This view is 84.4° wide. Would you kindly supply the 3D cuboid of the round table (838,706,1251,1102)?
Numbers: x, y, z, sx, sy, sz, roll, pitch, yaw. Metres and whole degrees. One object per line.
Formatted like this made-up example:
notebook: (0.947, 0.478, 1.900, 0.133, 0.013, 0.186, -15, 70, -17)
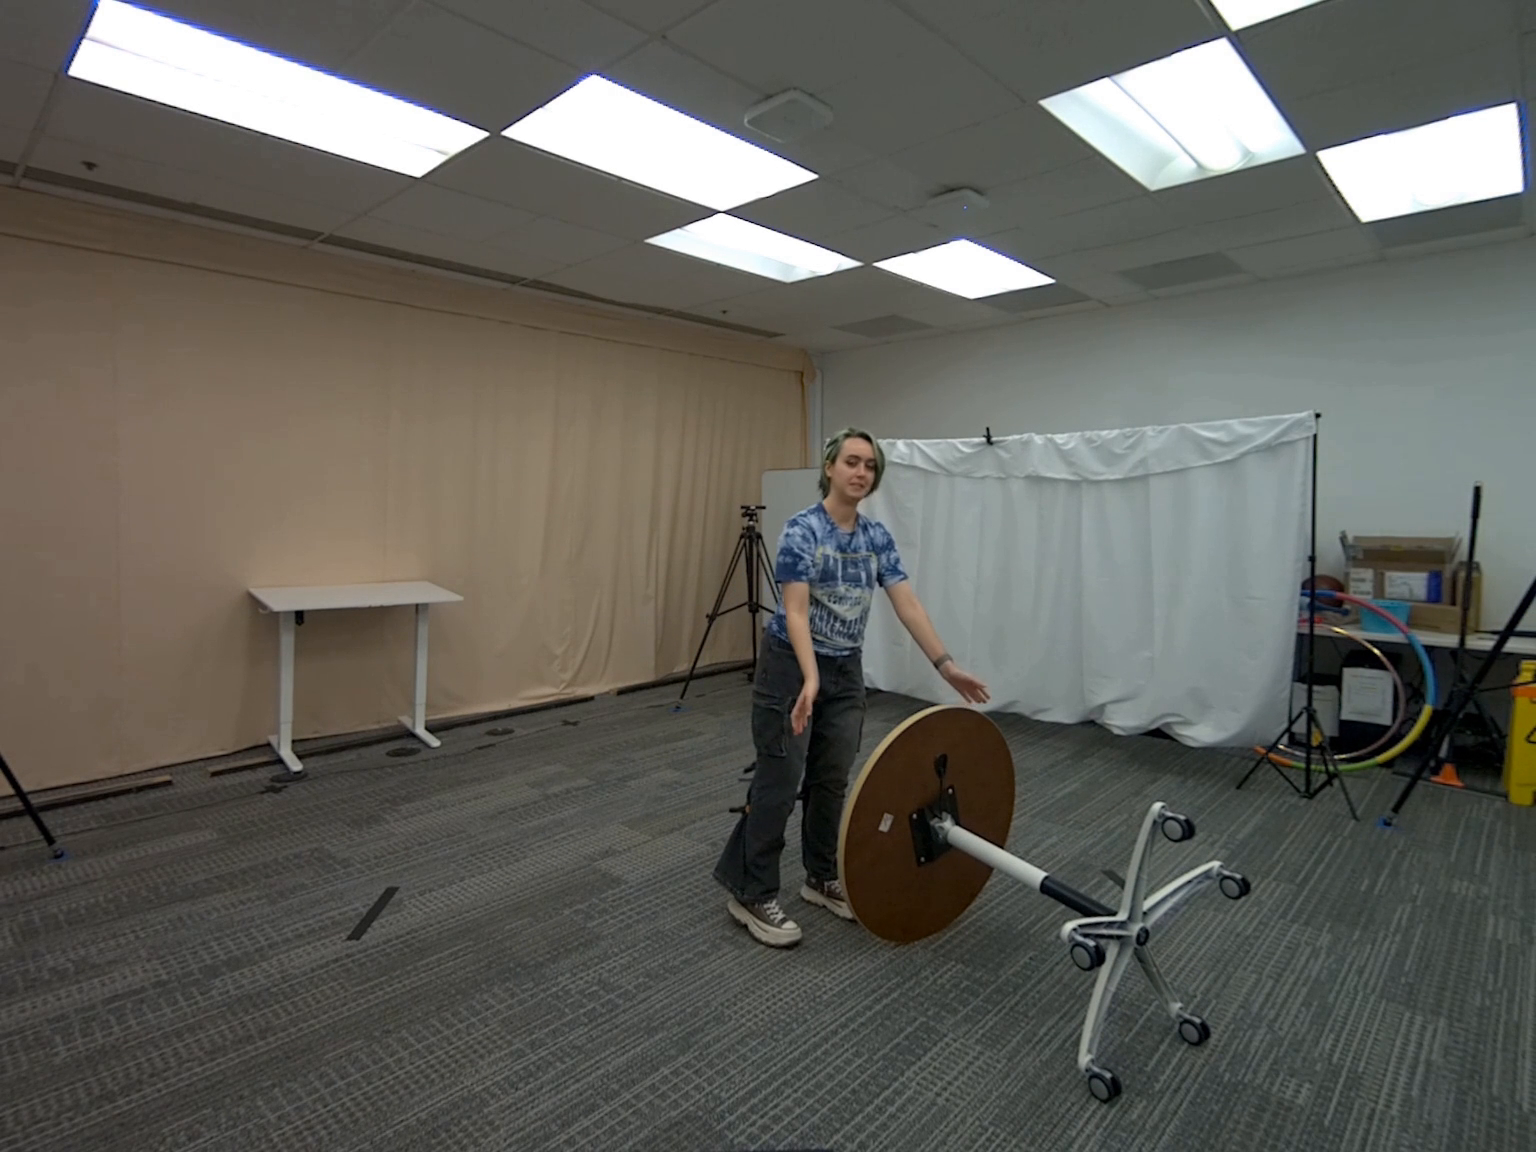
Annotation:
round table: (0.748, 0.854, 2.347, 0.742, 0.760, 0.821, -2, 10, -34)
